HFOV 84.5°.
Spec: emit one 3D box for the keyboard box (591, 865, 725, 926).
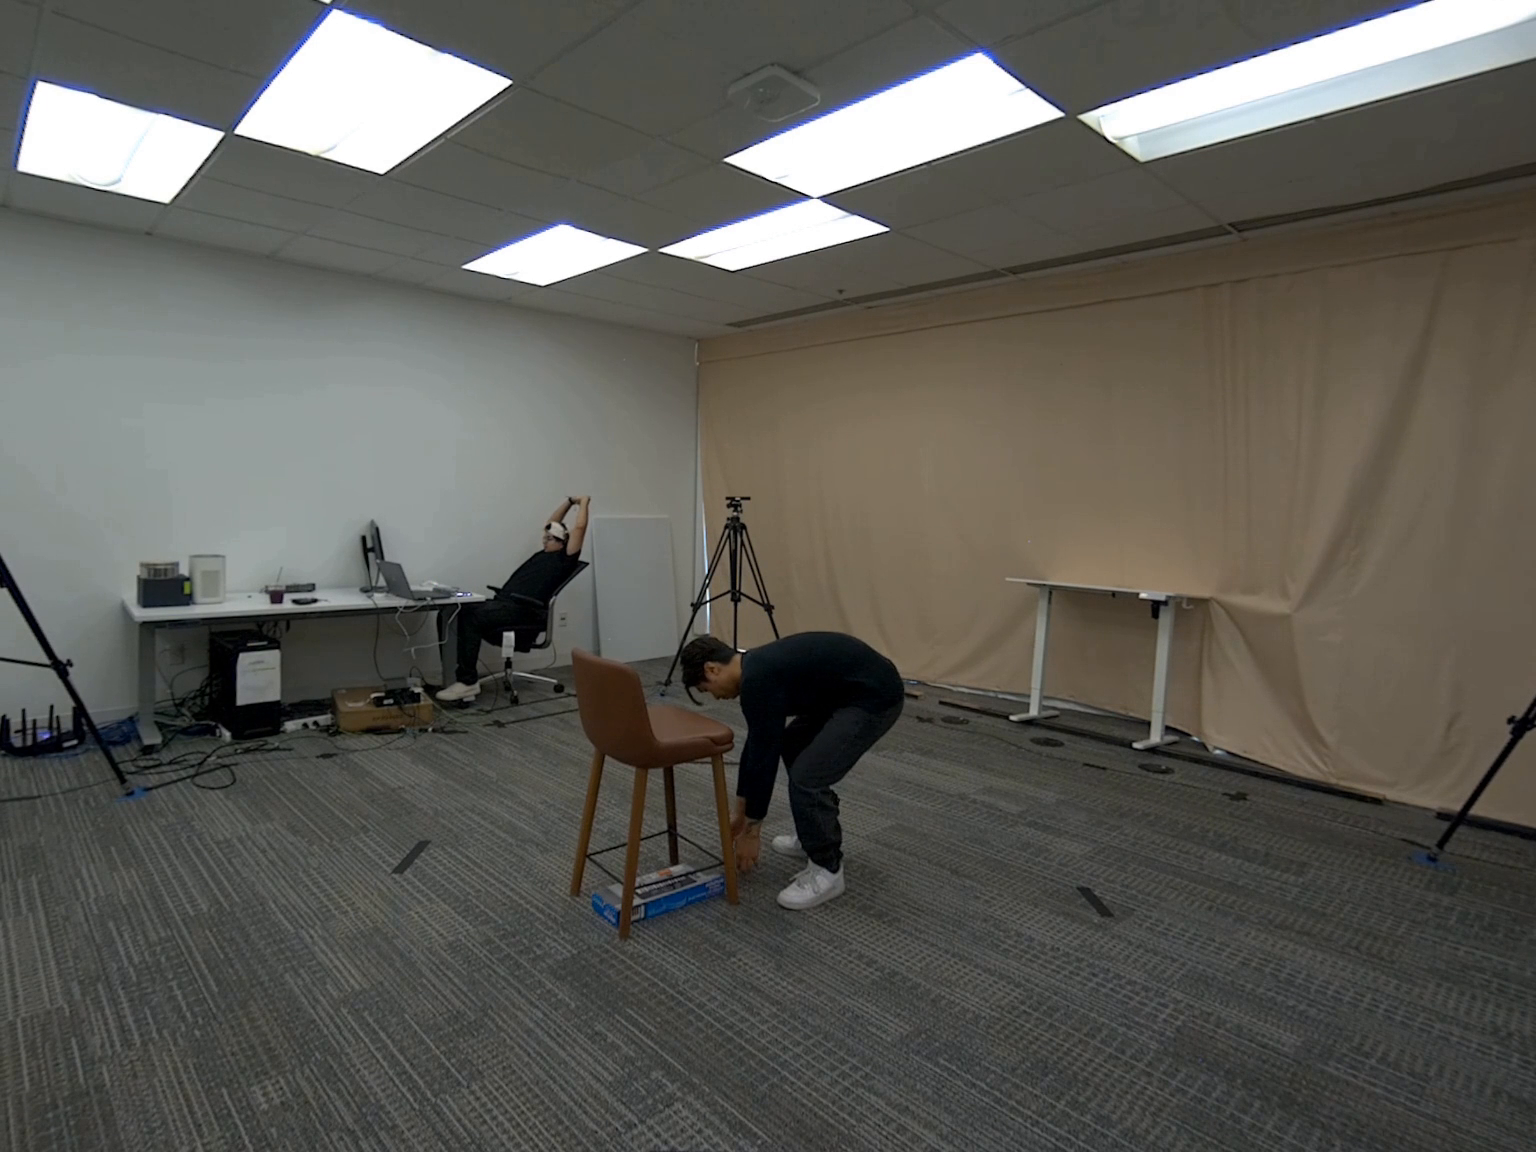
[{"bbox_3d":[-0.379,1.093,2.908,0.427,0.059,0.180,-3,4,-39],"label":"keyboard box"}]
